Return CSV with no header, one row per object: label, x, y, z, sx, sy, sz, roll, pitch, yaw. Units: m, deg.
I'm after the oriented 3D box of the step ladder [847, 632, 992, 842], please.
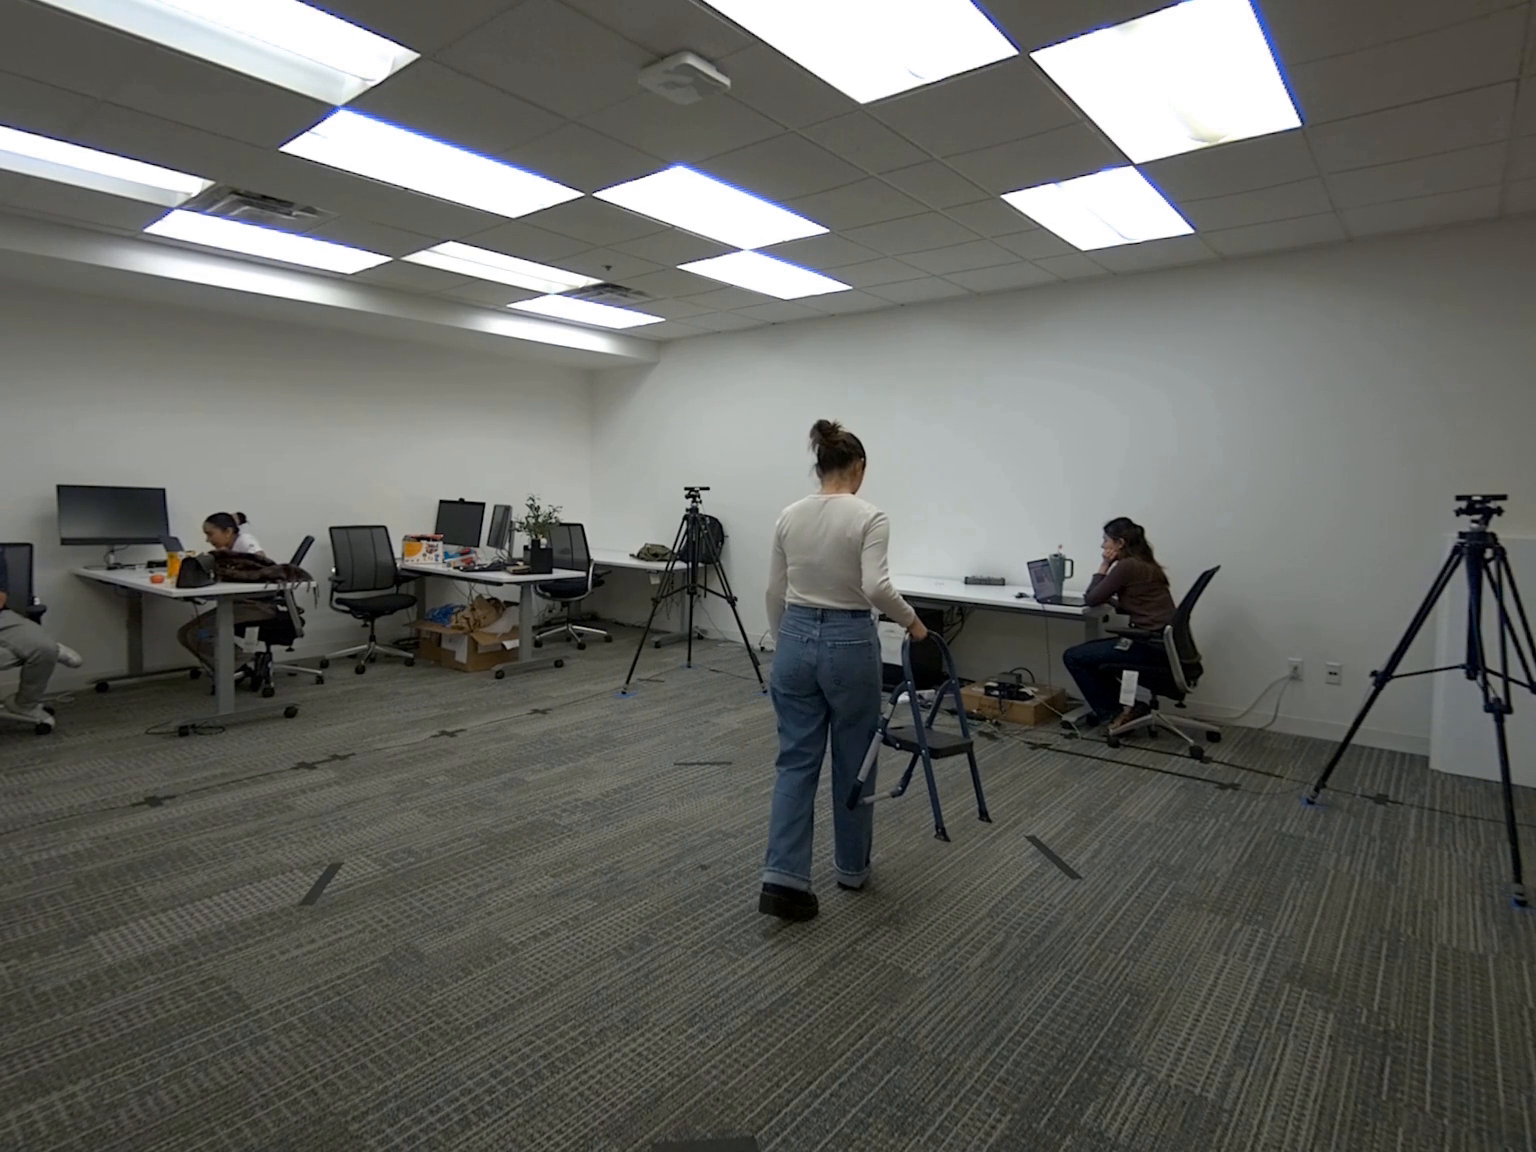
step ladder,0.546,0.499,2.835,0.361,0.607,0.416,7,-3,34
